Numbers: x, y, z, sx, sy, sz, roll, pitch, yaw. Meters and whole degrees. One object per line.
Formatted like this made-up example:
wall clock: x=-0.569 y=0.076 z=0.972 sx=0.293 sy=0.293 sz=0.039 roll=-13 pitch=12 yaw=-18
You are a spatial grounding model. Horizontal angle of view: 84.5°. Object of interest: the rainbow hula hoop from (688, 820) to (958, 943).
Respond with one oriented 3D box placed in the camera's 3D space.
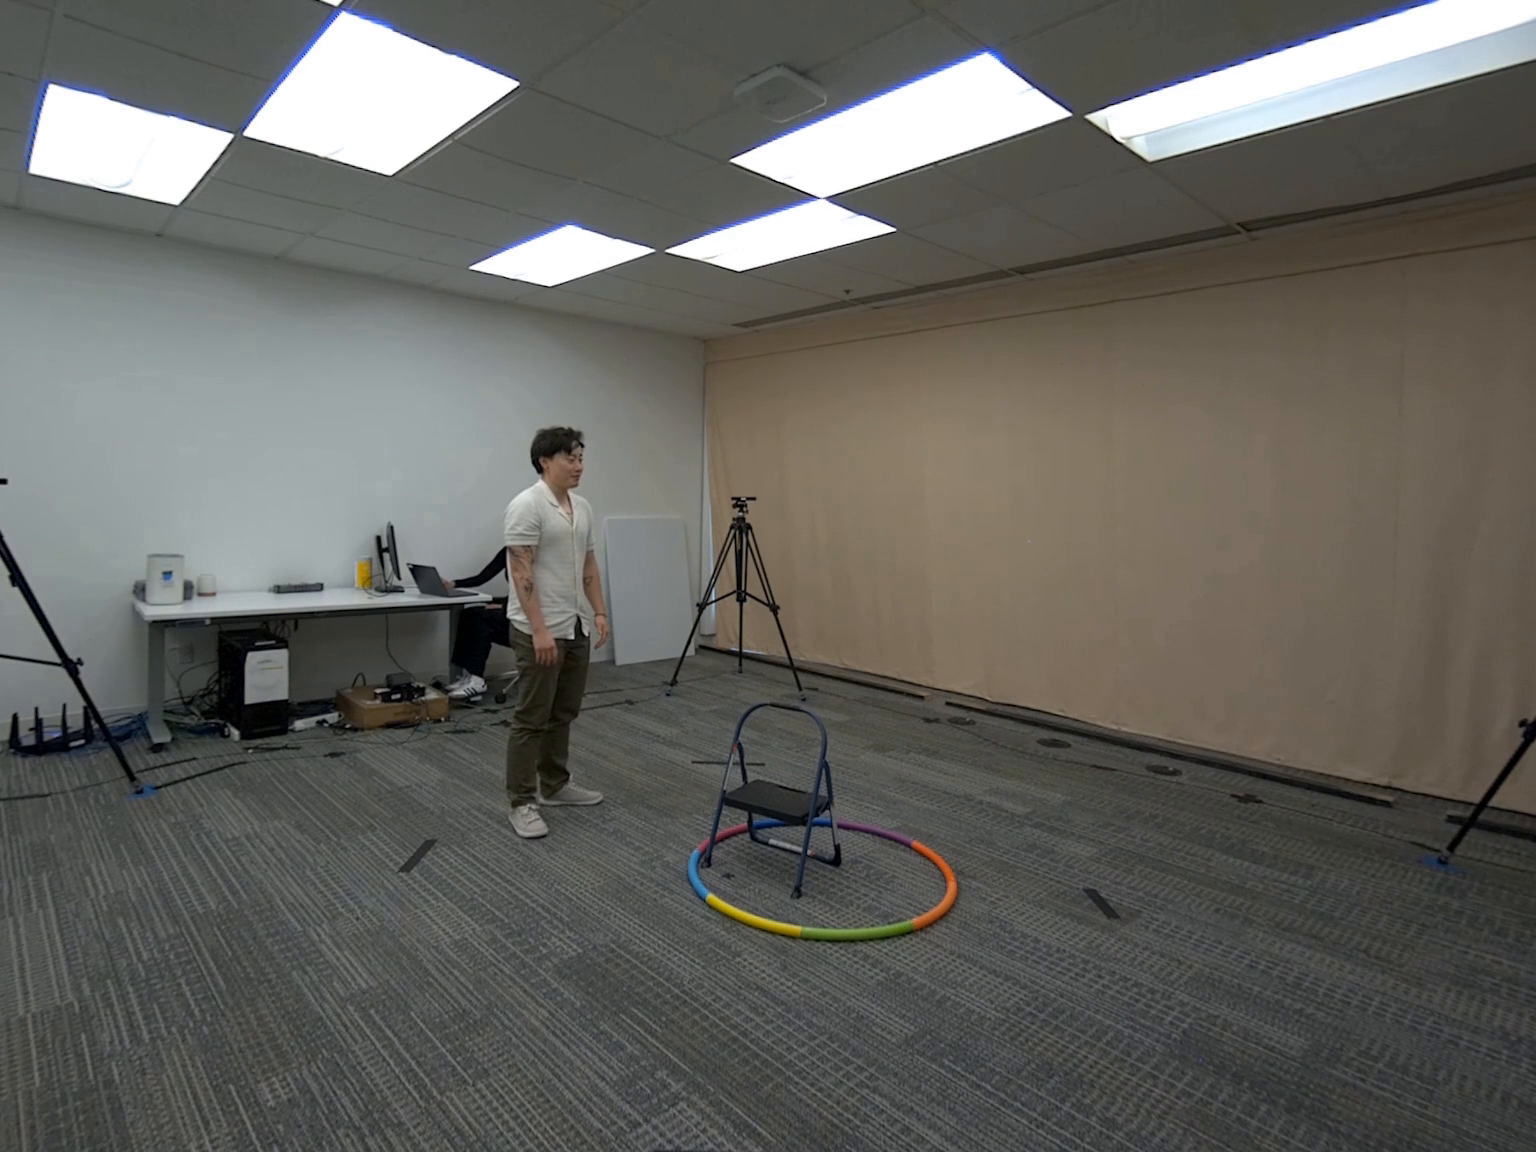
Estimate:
rainbow hula hoop: x=0.189 y=1.079 z=3.140 sx=0.978 sy=0.035 sz=0.982 roll=1 pitch=5 yaw=-1
